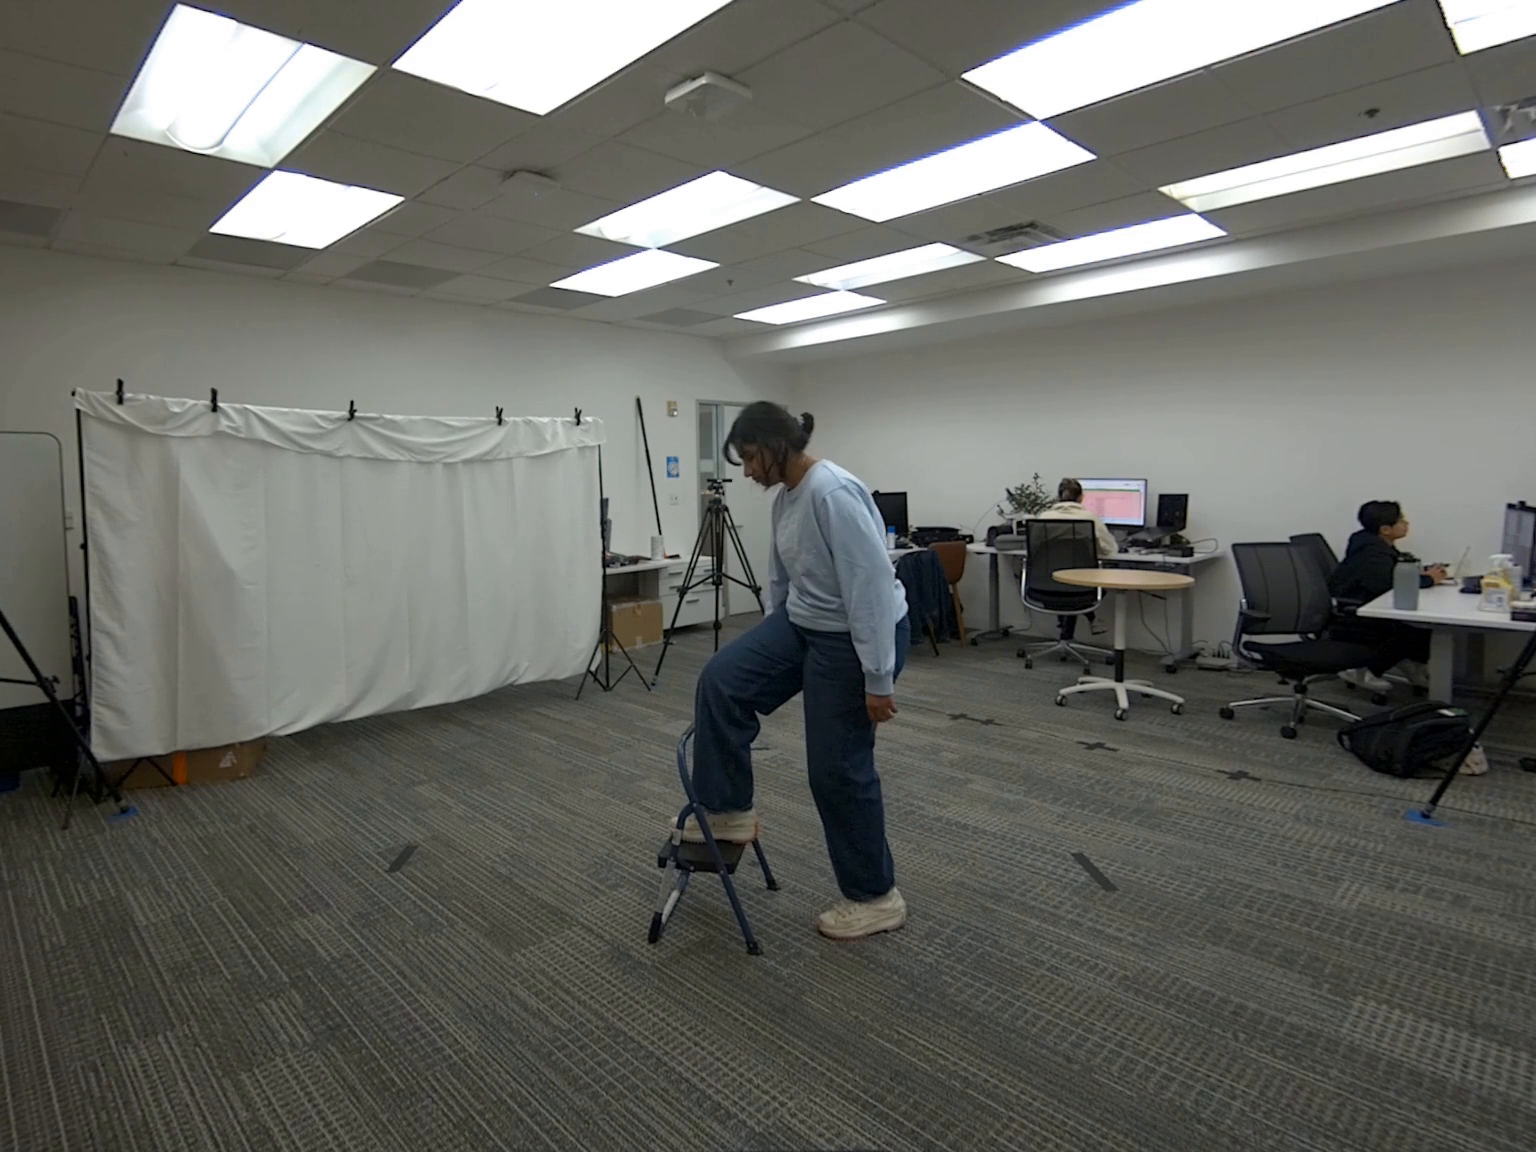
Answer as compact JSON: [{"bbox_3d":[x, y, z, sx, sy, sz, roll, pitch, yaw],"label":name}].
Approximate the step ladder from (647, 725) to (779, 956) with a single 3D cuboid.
[{"bbox_3d":[-0.165,0.791,2.735,0.353,0.604,0.428,0,4,9],"label":"step ladder"}]
